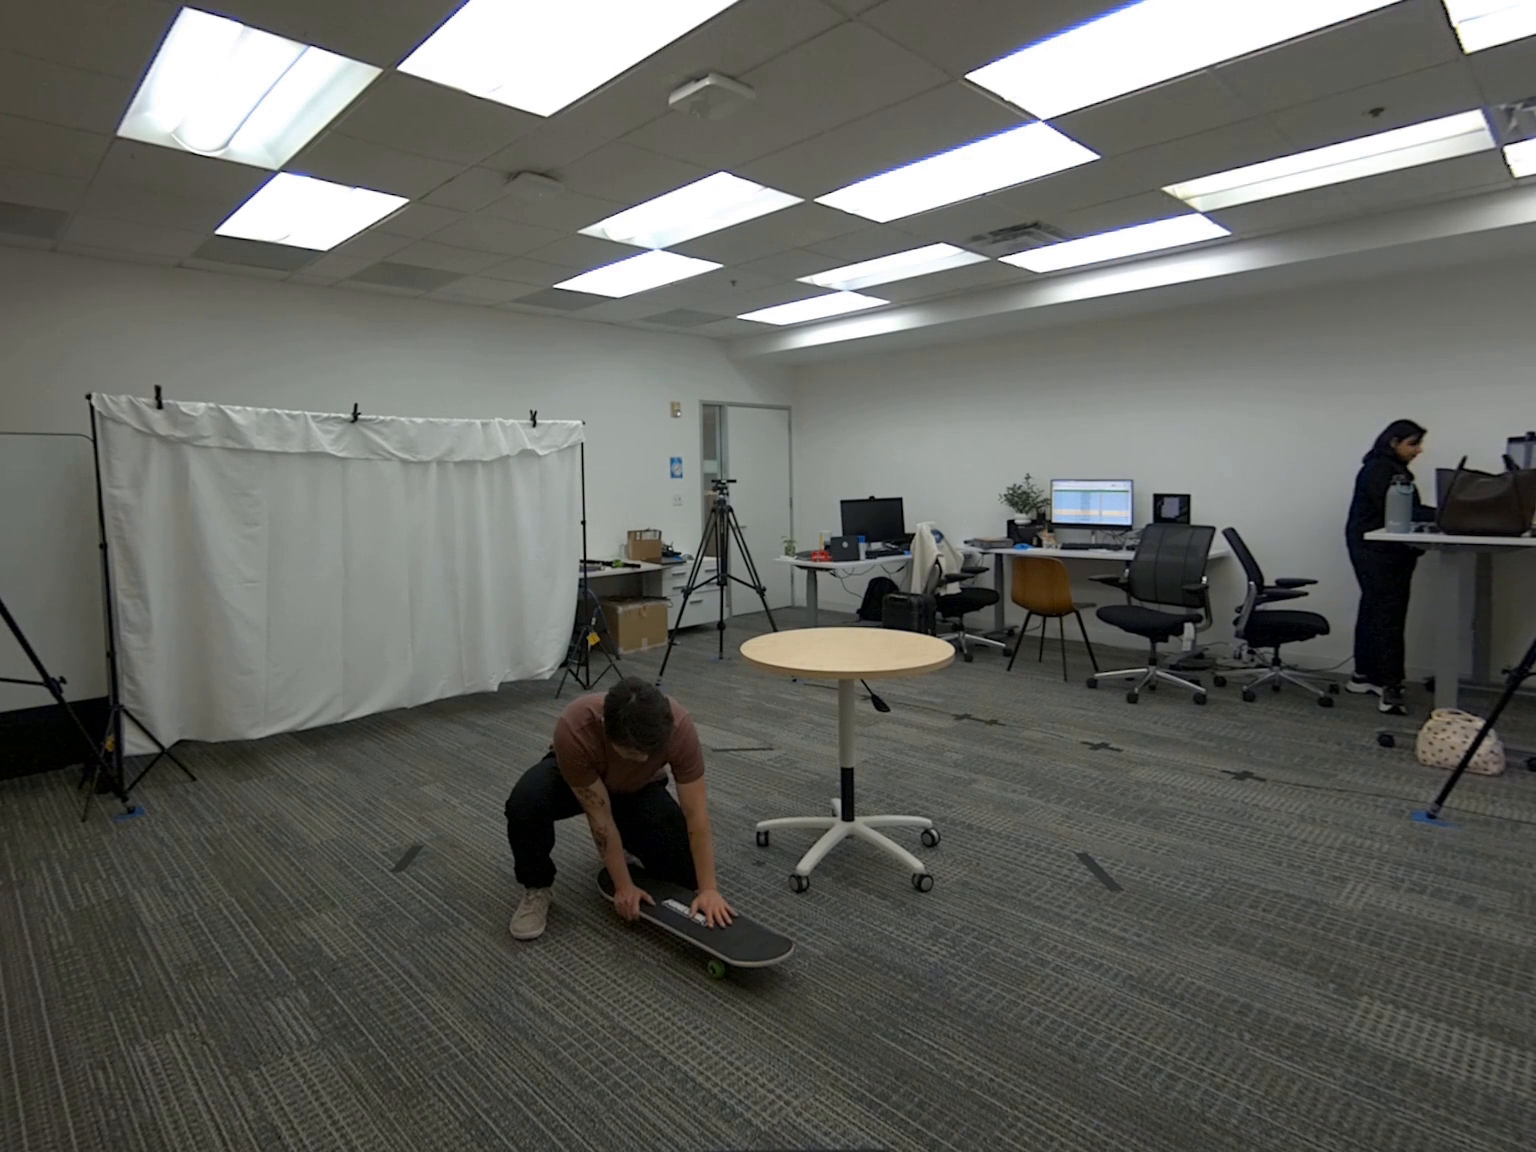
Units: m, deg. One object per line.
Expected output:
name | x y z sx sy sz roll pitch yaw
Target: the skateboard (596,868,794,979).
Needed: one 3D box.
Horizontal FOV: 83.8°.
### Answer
skateboard | -0.238 1.058 2.589 0.809 0.110 0.189 3 9 42
